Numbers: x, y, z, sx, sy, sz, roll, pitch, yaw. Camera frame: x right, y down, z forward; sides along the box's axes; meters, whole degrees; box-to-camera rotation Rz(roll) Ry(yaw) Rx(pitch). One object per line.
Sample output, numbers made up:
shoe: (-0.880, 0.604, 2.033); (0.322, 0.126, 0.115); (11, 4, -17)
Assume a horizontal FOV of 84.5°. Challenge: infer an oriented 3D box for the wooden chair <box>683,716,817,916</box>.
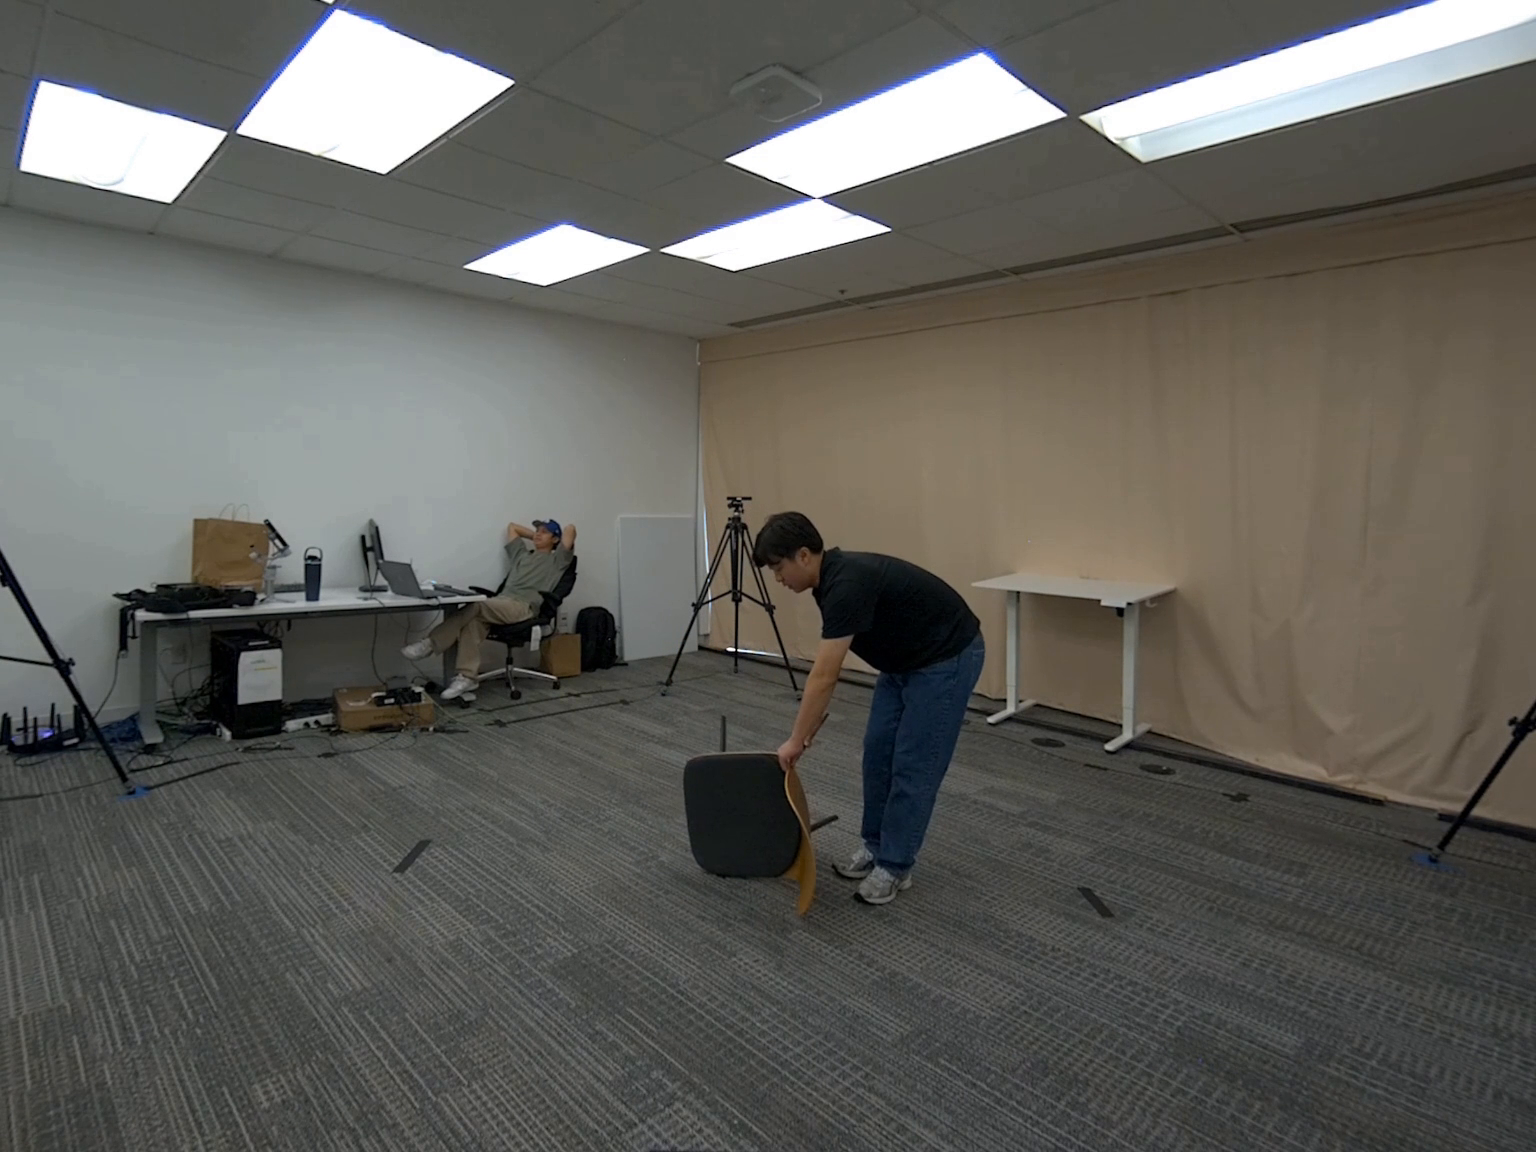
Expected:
wooden chair: (-0.050, 0.864, 3.088); (0.527, 0.475, 0.876); (-5, 8, 10)
